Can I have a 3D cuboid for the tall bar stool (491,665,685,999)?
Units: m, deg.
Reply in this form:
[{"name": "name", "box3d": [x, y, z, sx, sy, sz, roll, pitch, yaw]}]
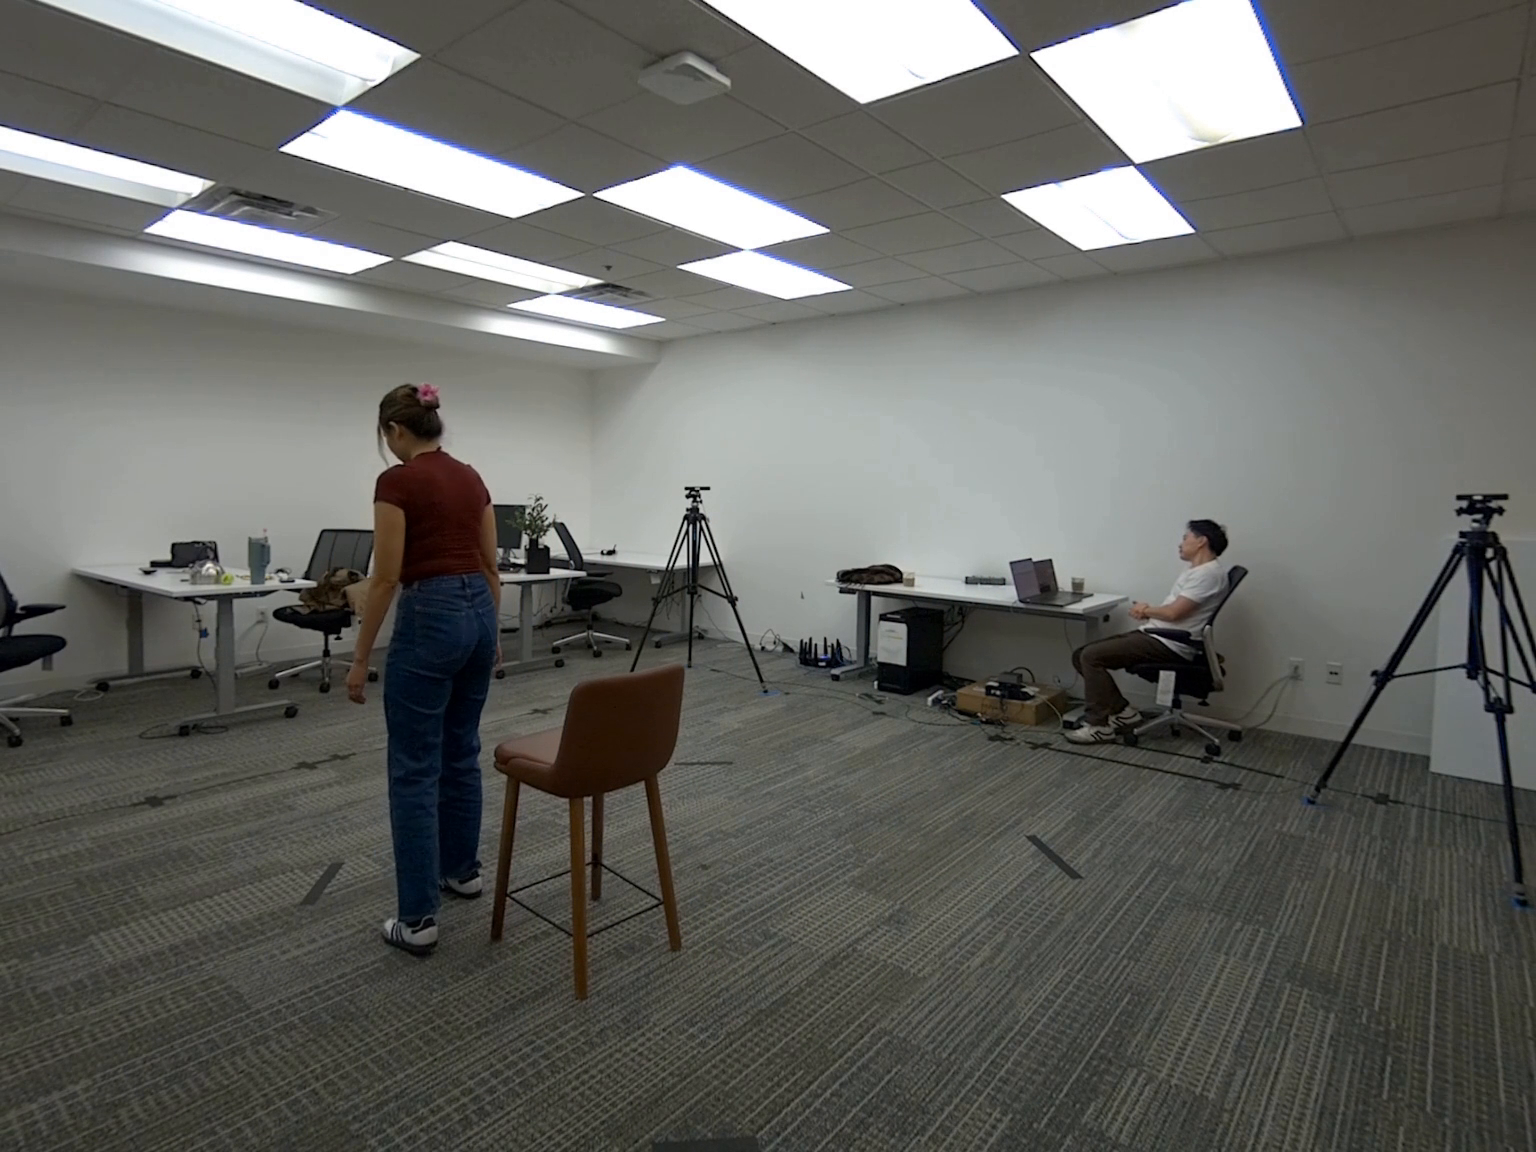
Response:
[{"name": "tall bar stool", "box3d": [-0.550, 0.682, 2.552, 0.484, 0.886, 0.443, 6, 7, 43]}]
